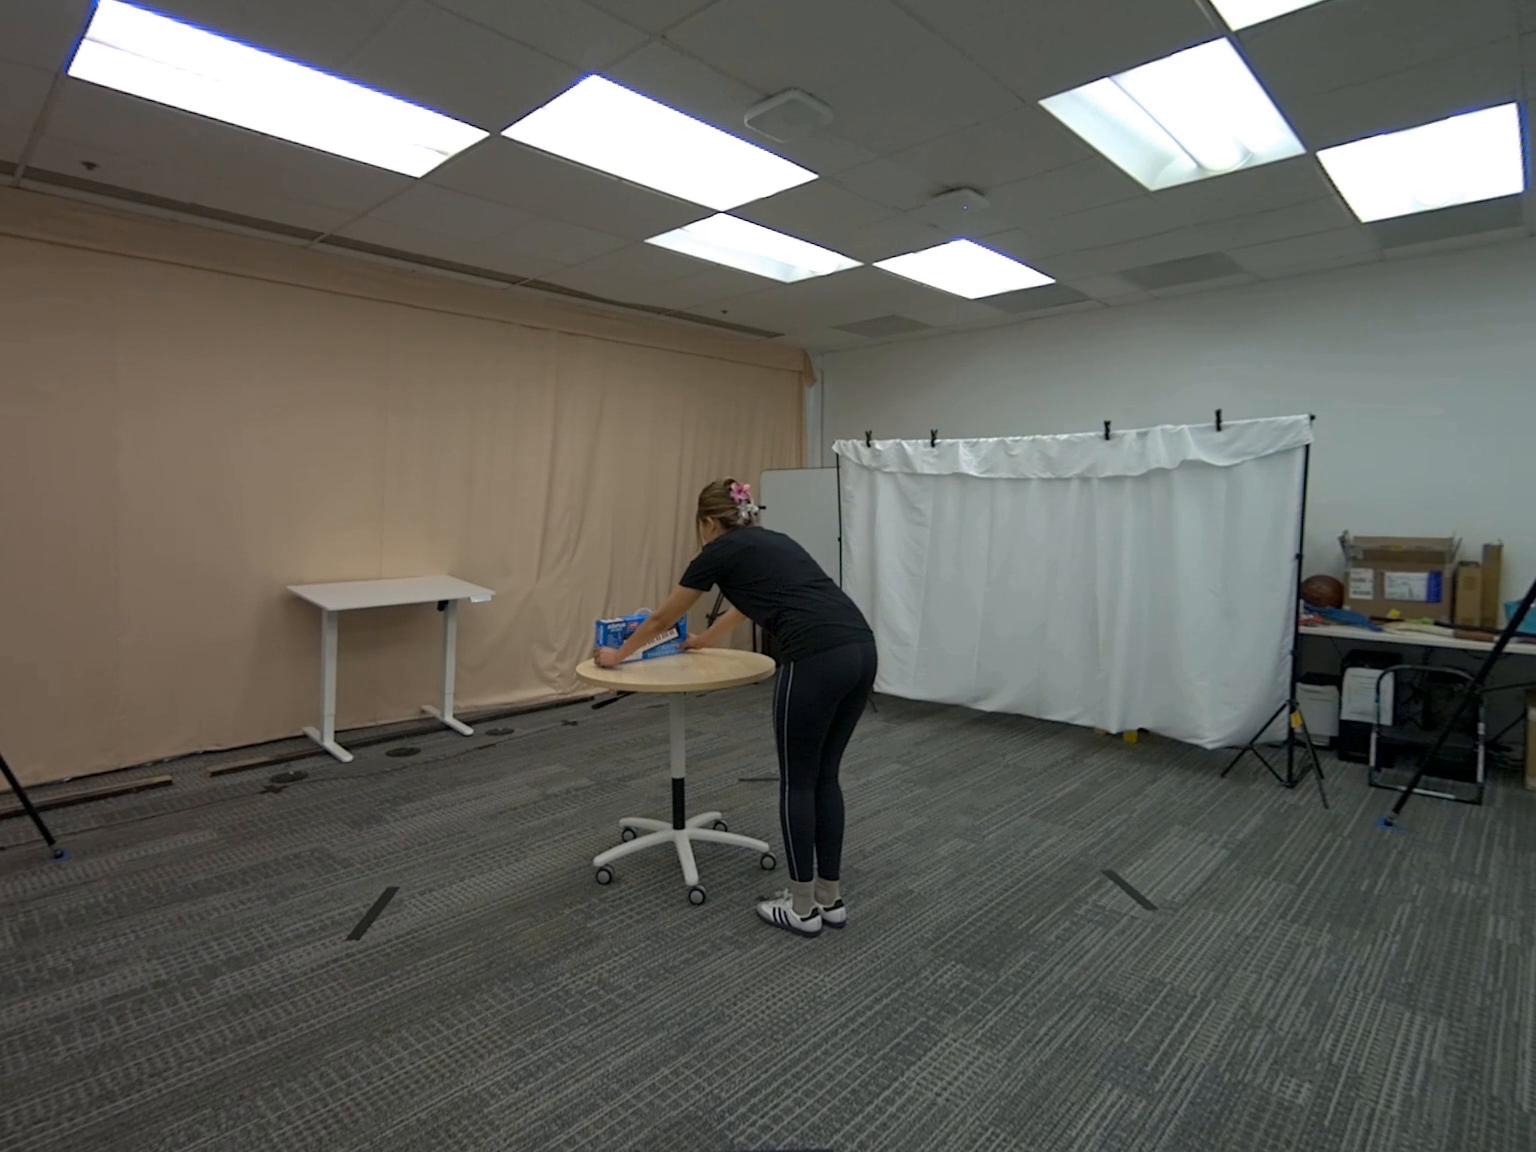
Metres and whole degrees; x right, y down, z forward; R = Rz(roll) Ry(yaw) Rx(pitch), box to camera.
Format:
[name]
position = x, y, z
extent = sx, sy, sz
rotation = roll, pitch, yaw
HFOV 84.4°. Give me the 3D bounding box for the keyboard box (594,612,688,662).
[keyboard box]
position = -0.505, 0.247, 3.381
extent = 0.061, 0.175, 0.424
rotation = 11, 11, 41
